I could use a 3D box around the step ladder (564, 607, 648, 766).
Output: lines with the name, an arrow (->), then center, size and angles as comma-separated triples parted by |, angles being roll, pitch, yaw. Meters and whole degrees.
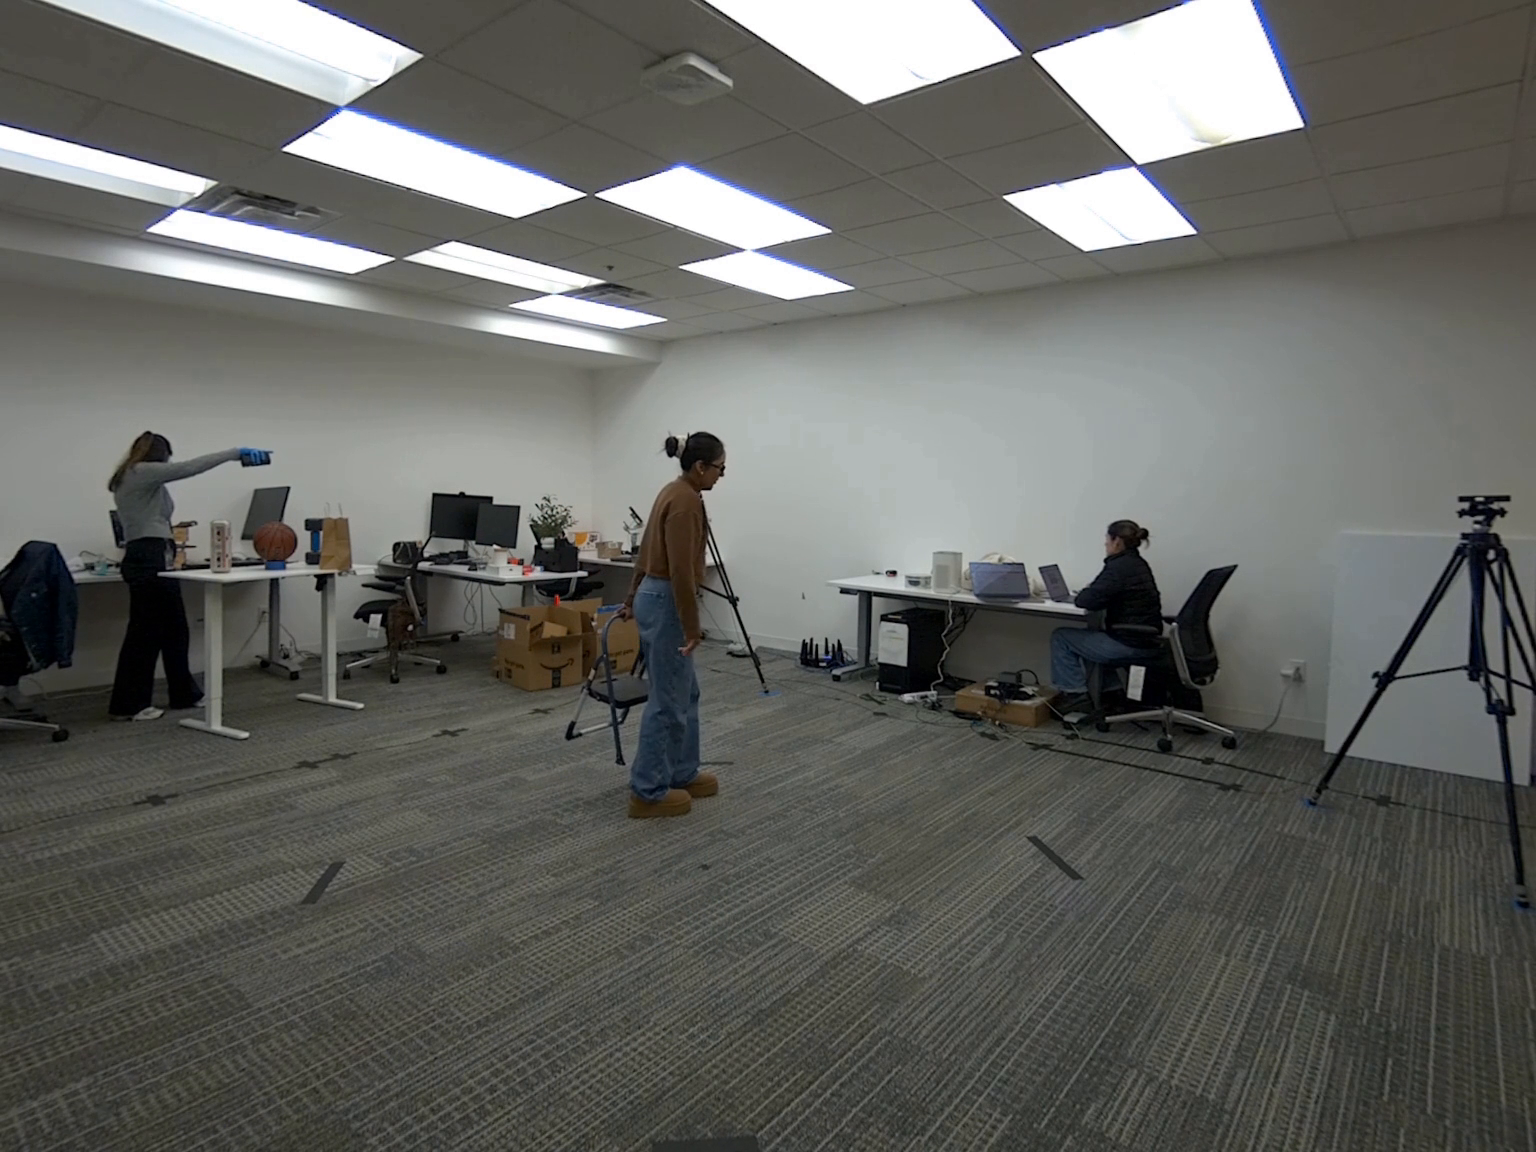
step ladder -> -0.653, 0.483, 3.950 | 0.360, 0.603, 0.419 | 13, 7, 28
